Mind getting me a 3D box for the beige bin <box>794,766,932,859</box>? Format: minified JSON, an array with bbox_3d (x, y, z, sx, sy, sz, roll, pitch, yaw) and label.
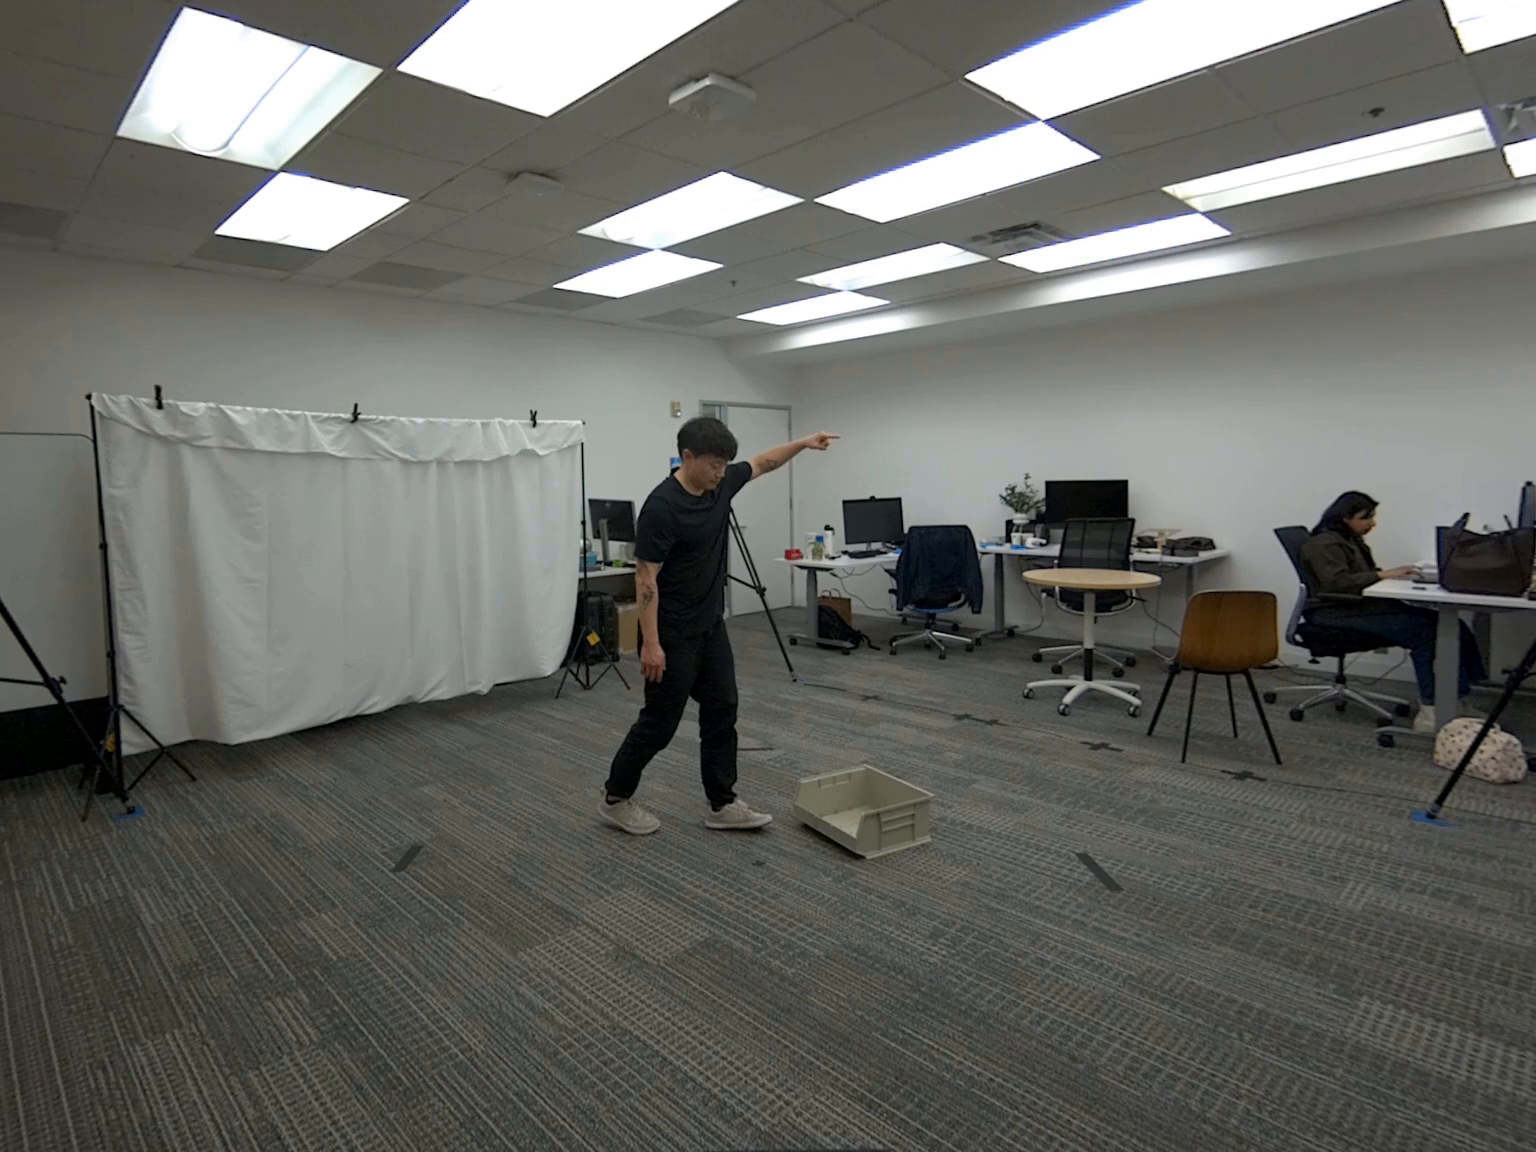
[{"bbox_3d":[0.371,0.925,3.361,0.368,0.188,0.434,-4,6,-30],"label":"beige bin"}]
